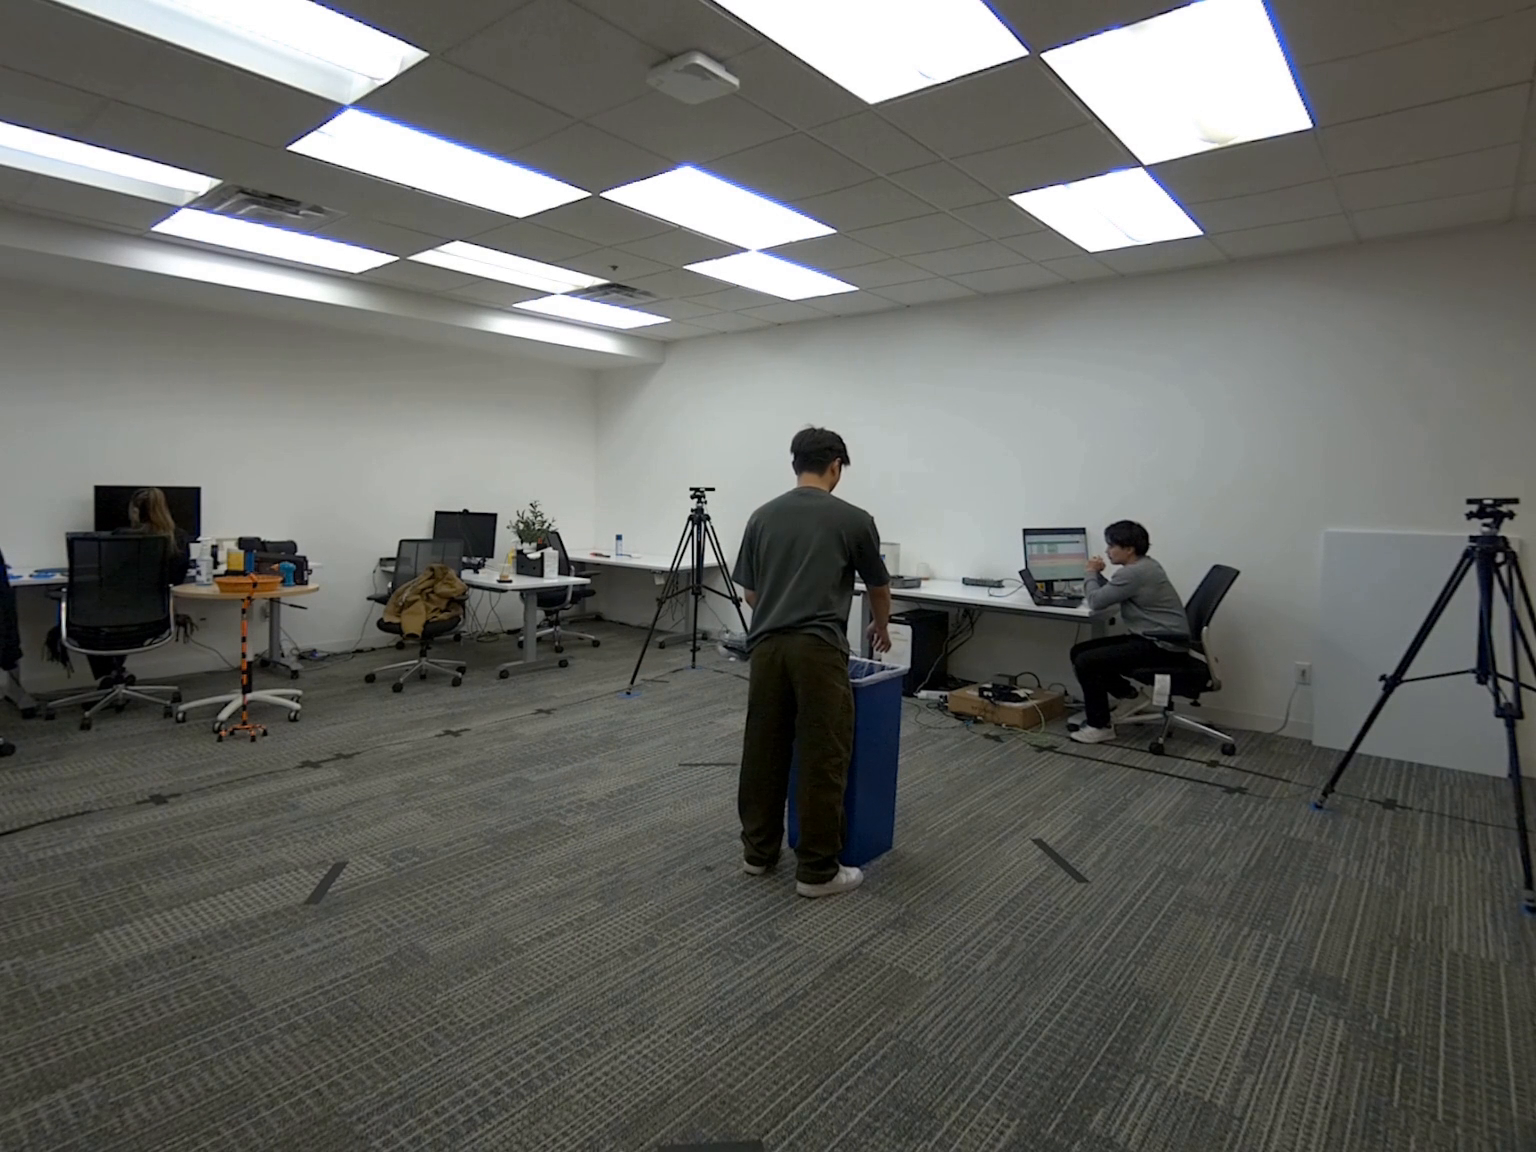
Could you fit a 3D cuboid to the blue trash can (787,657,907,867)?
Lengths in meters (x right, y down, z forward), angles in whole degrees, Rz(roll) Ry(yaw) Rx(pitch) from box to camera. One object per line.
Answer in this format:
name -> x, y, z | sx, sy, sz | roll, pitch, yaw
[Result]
blue trash can -> 0.282, 0.700, 3.302 | 0.391, 0.712, 0.362 | 3, 3, 40
